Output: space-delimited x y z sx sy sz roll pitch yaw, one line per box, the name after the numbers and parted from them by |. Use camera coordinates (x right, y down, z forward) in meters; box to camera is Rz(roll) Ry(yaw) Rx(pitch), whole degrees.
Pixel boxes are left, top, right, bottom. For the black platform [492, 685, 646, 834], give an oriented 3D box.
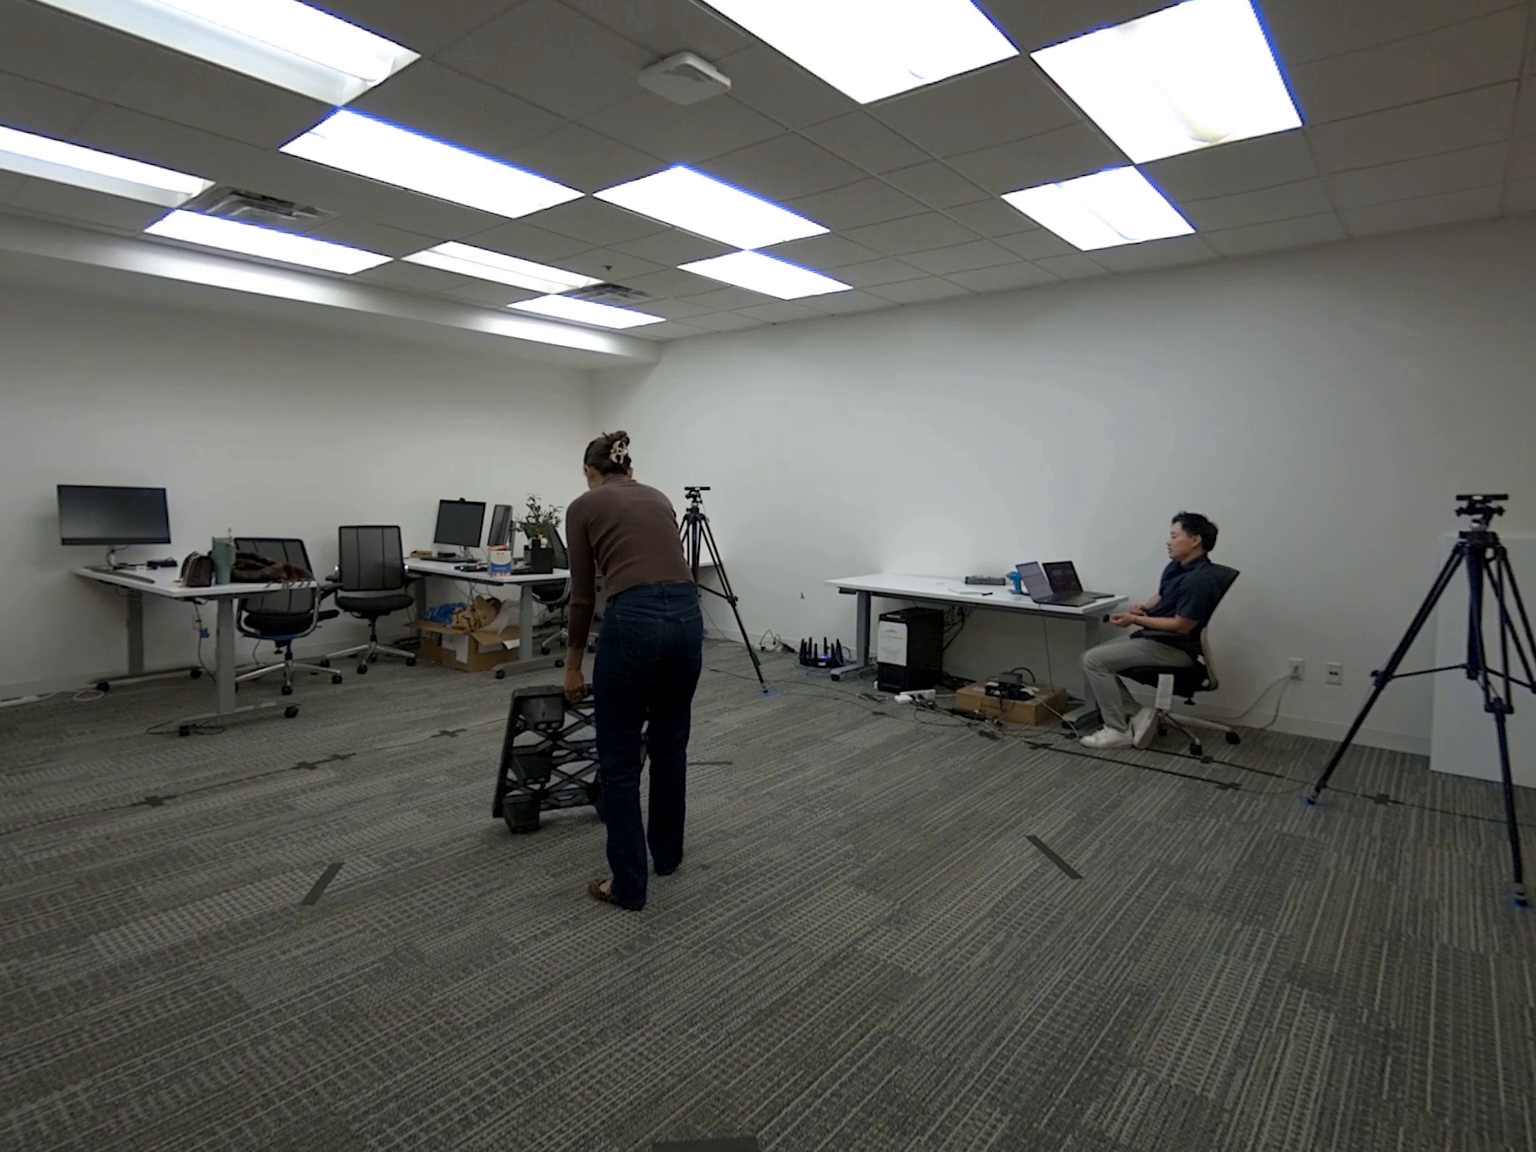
-0.746 0.713 3.305 0.591 0.793 0.149 -1 44 -25 | black platform
